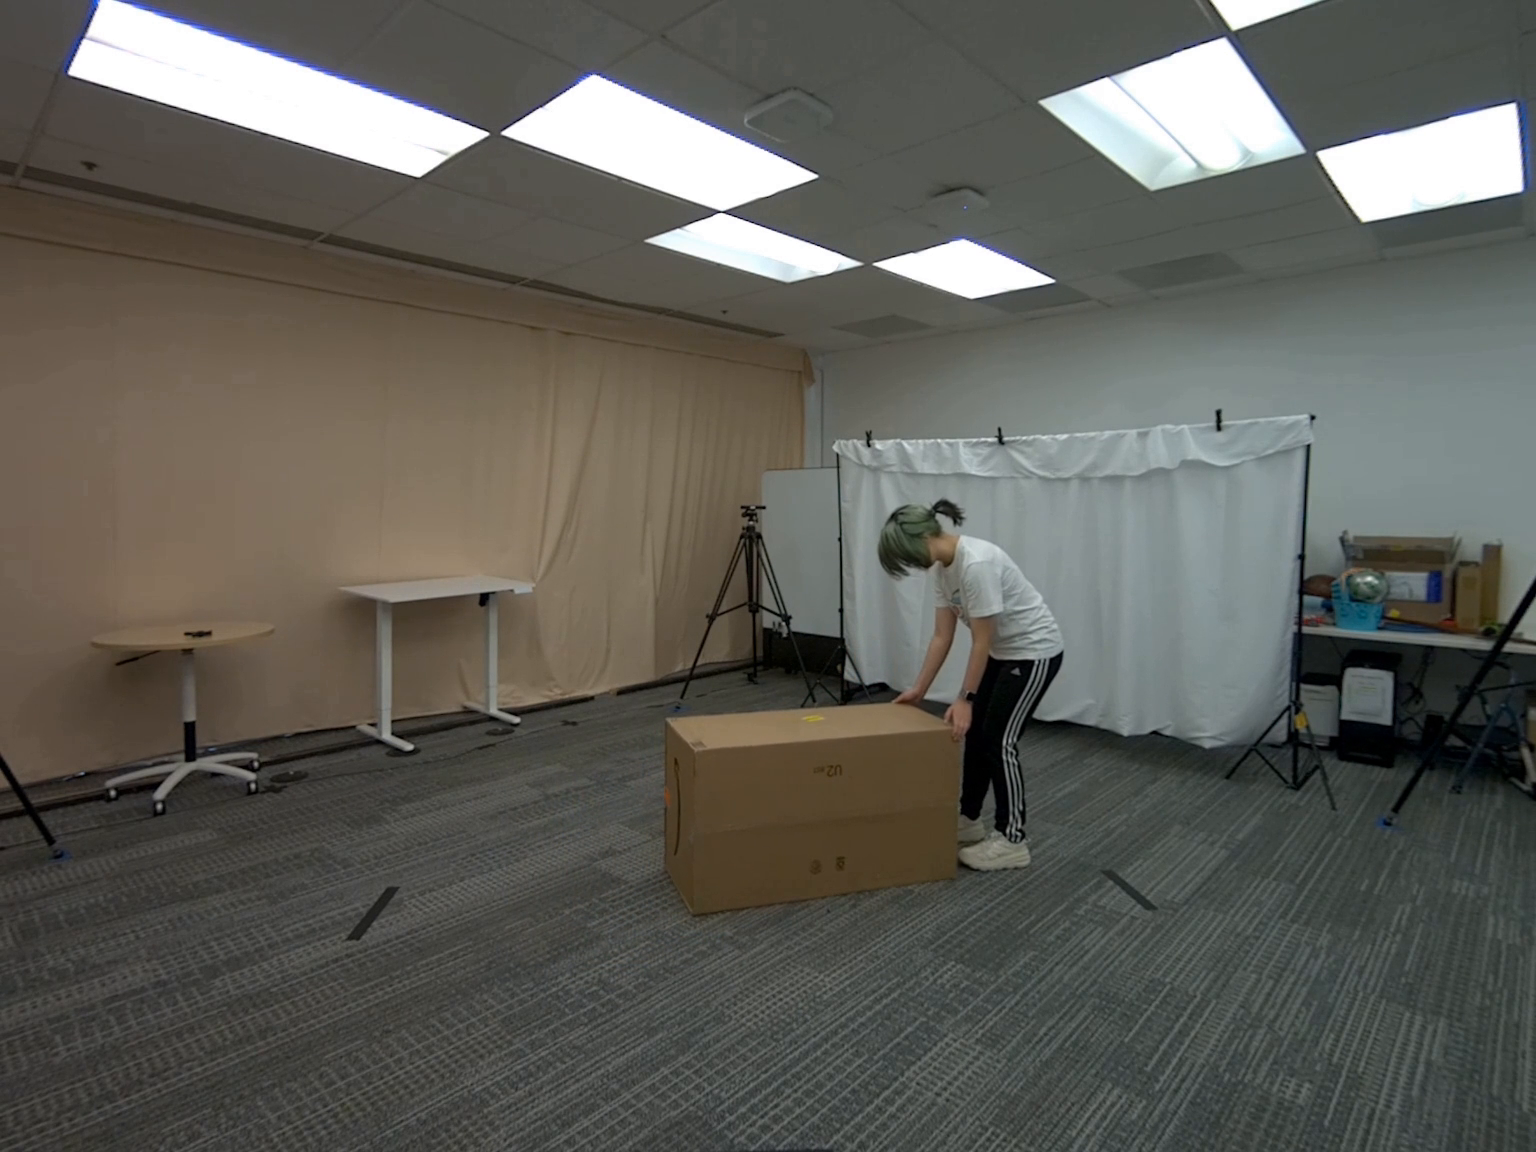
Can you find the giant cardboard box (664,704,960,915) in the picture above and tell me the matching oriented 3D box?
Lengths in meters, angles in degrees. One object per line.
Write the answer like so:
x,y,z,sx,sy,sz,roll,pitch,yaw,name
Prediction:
0.154,0.837,3.178,1.008,0.583,0.456,-1,3,-18,giant cardboard box
